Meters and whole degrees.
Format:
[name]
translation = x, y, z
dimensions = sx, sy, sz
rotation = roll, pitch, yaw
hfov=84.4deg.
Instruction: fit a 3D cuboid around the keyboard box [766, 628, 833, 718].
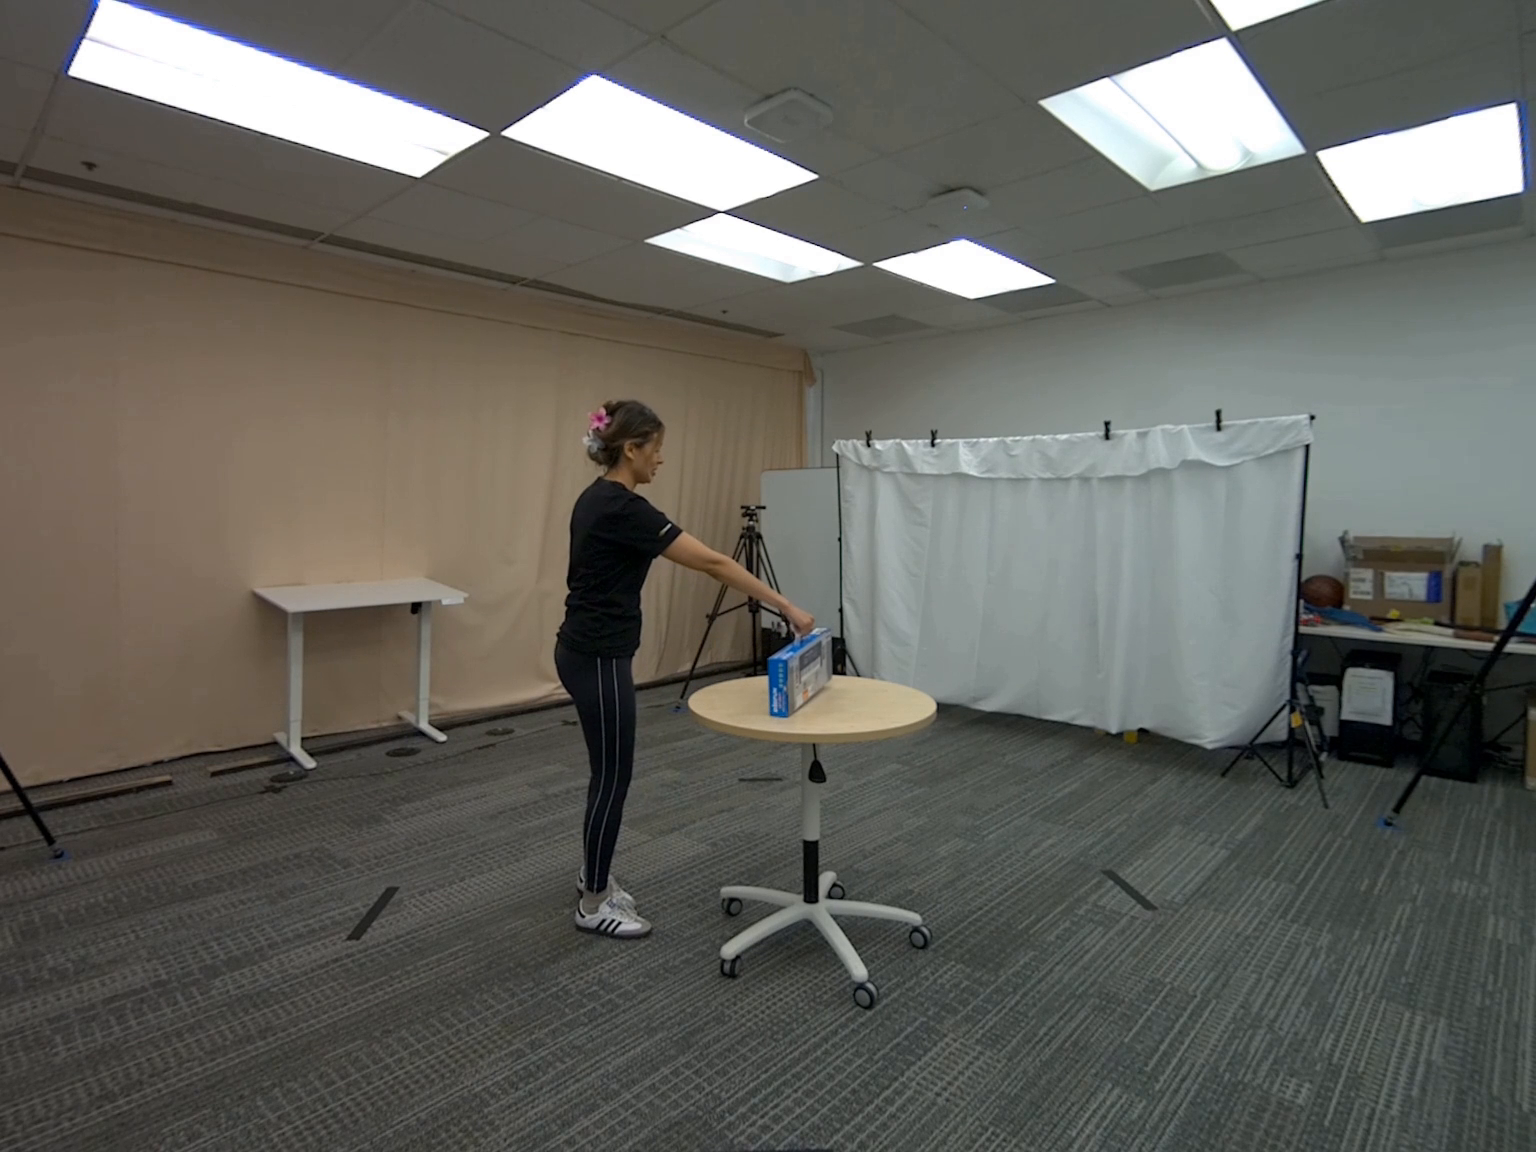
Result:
[keyboard box]
translation = 0.106, 0.290, 2.610
dimensions = 0.060, 0.175, 0.429
rotation = 1, 8, 21
